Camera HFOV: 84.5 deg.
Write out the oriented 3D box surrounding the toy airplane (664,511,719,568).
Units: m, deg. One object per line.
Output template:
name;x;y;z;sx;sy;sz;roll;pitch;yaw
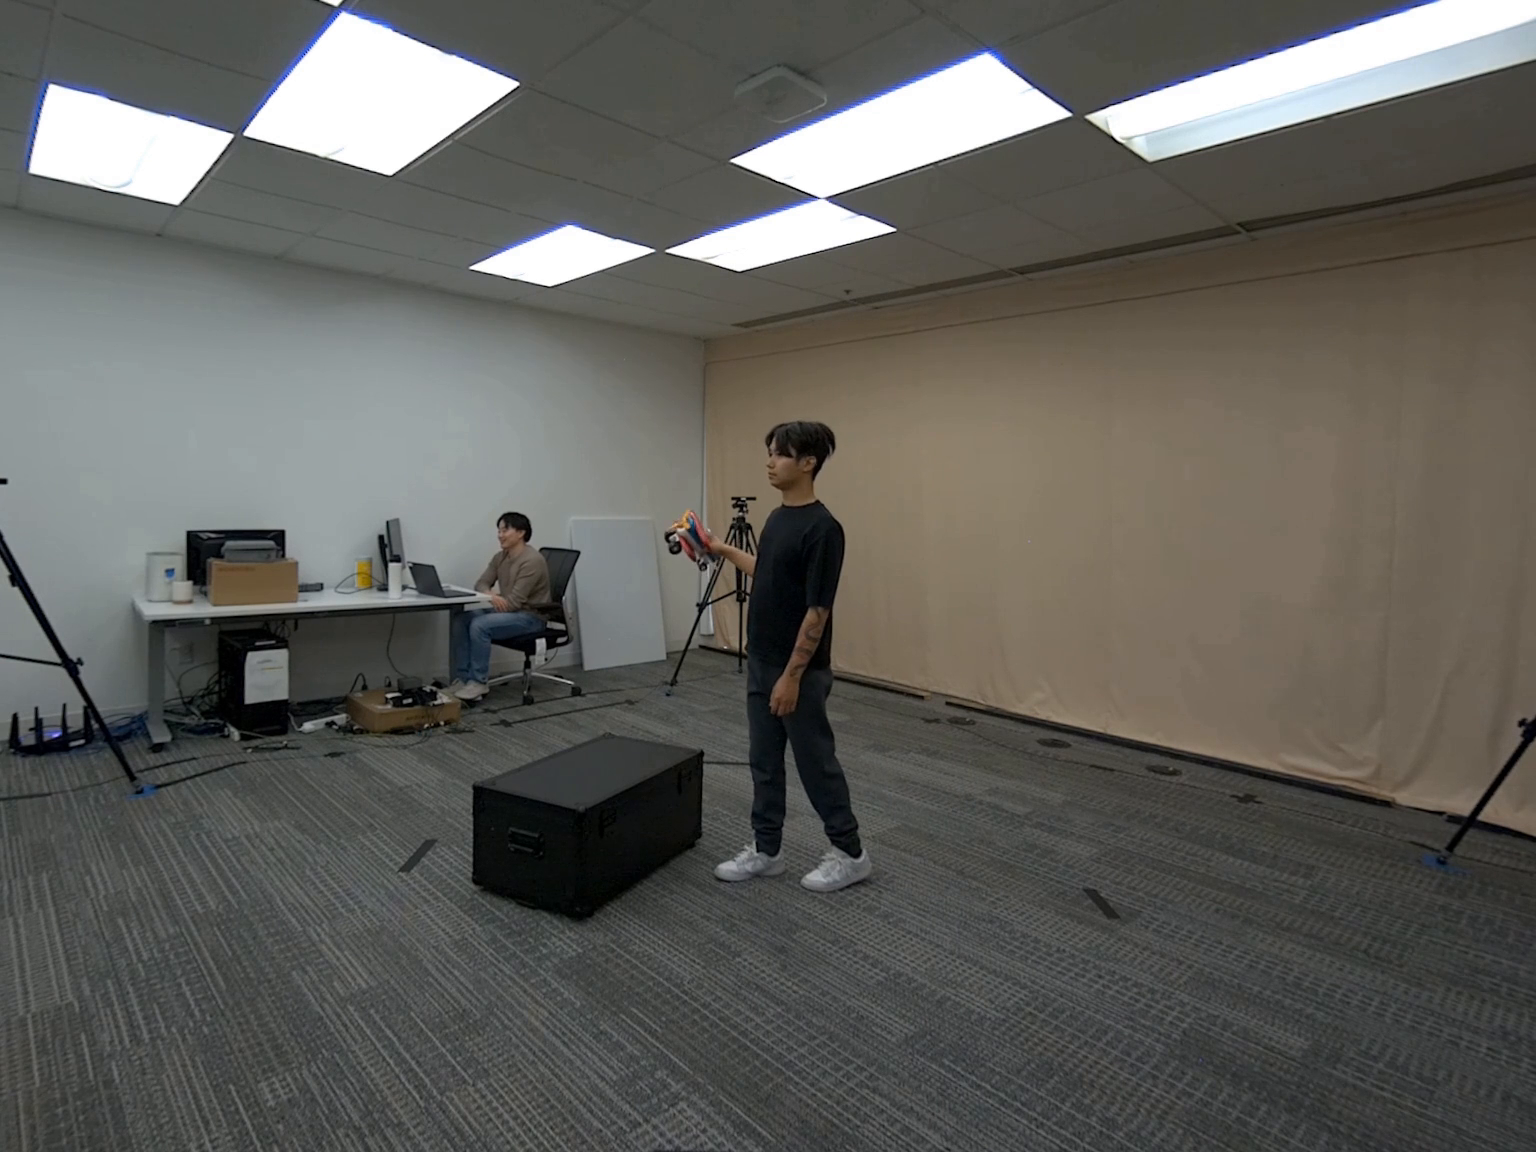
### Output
toy airplane;-0.307;-0.132;3.431;0.257;0.156;0.252;53;16;25
